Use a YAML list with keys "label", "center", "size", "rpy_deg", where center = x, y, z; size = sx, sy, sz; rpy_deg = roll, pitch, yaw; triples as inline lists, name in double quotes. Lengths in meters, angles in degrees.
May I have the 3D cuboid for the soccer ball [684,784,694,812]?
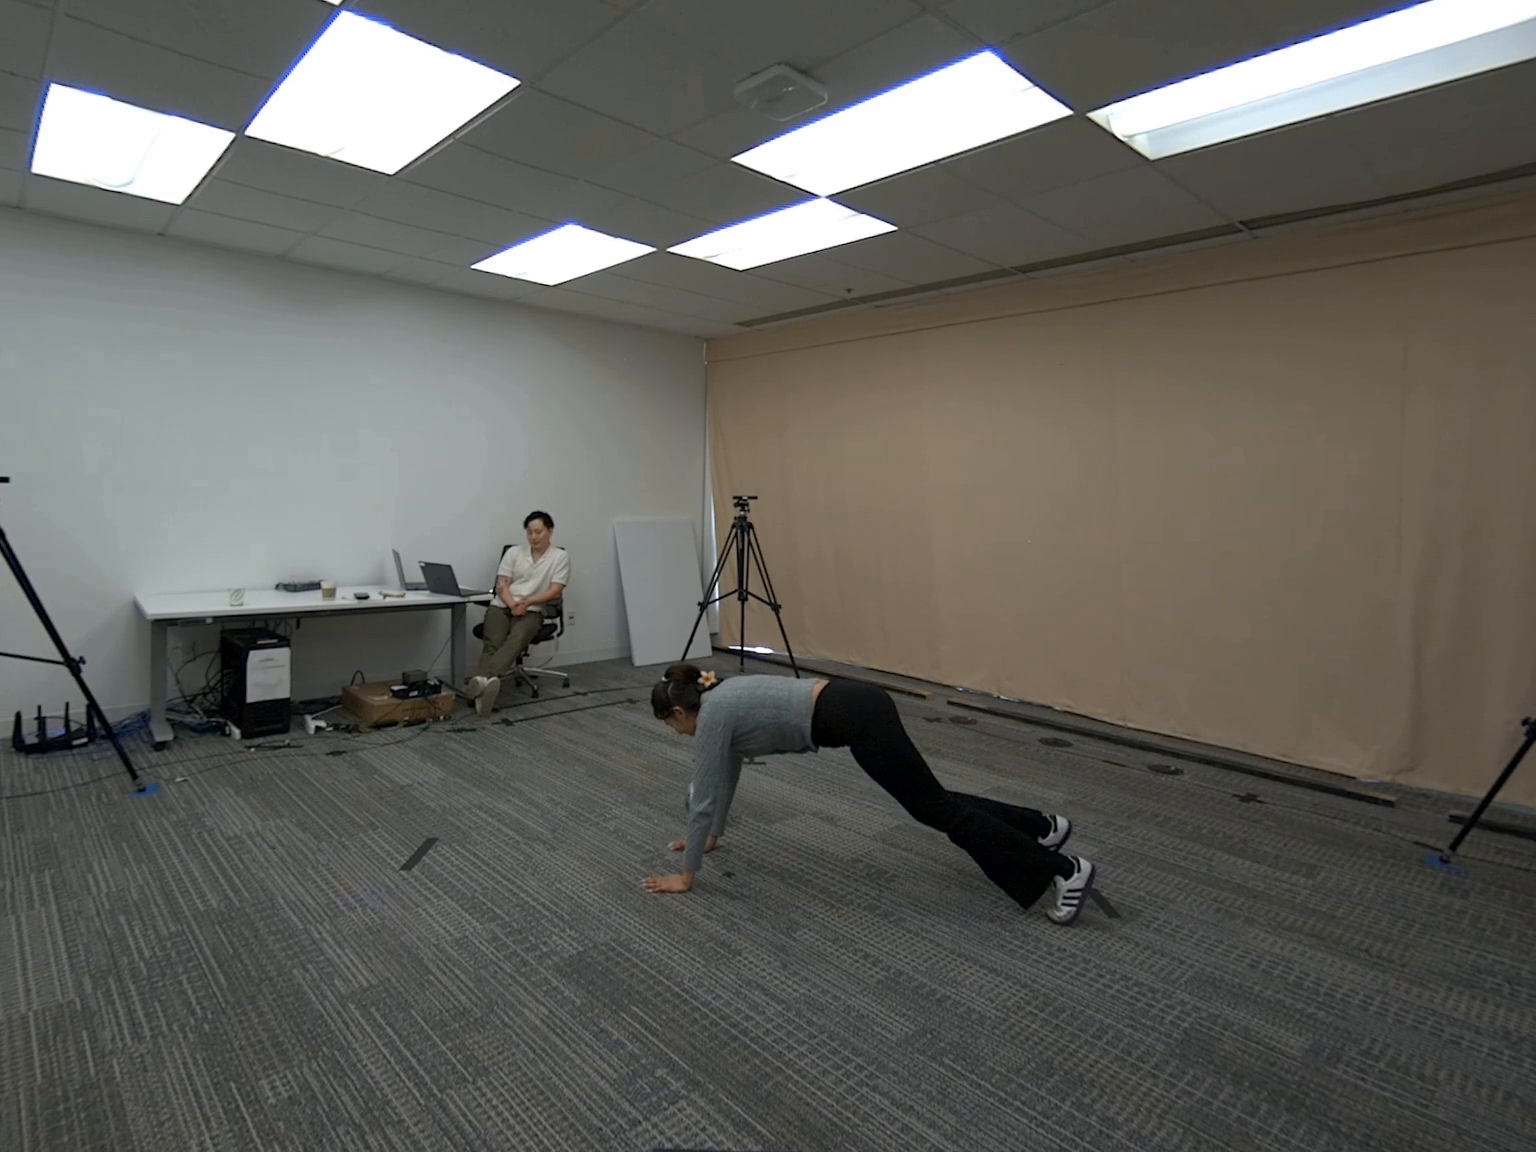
- label: "soccer ball"
  center: [-0.280, 0.963, 3.617]
  size: [0.187, 0.187, 0.188]
  rpy_deg: [1, 4, -1]
